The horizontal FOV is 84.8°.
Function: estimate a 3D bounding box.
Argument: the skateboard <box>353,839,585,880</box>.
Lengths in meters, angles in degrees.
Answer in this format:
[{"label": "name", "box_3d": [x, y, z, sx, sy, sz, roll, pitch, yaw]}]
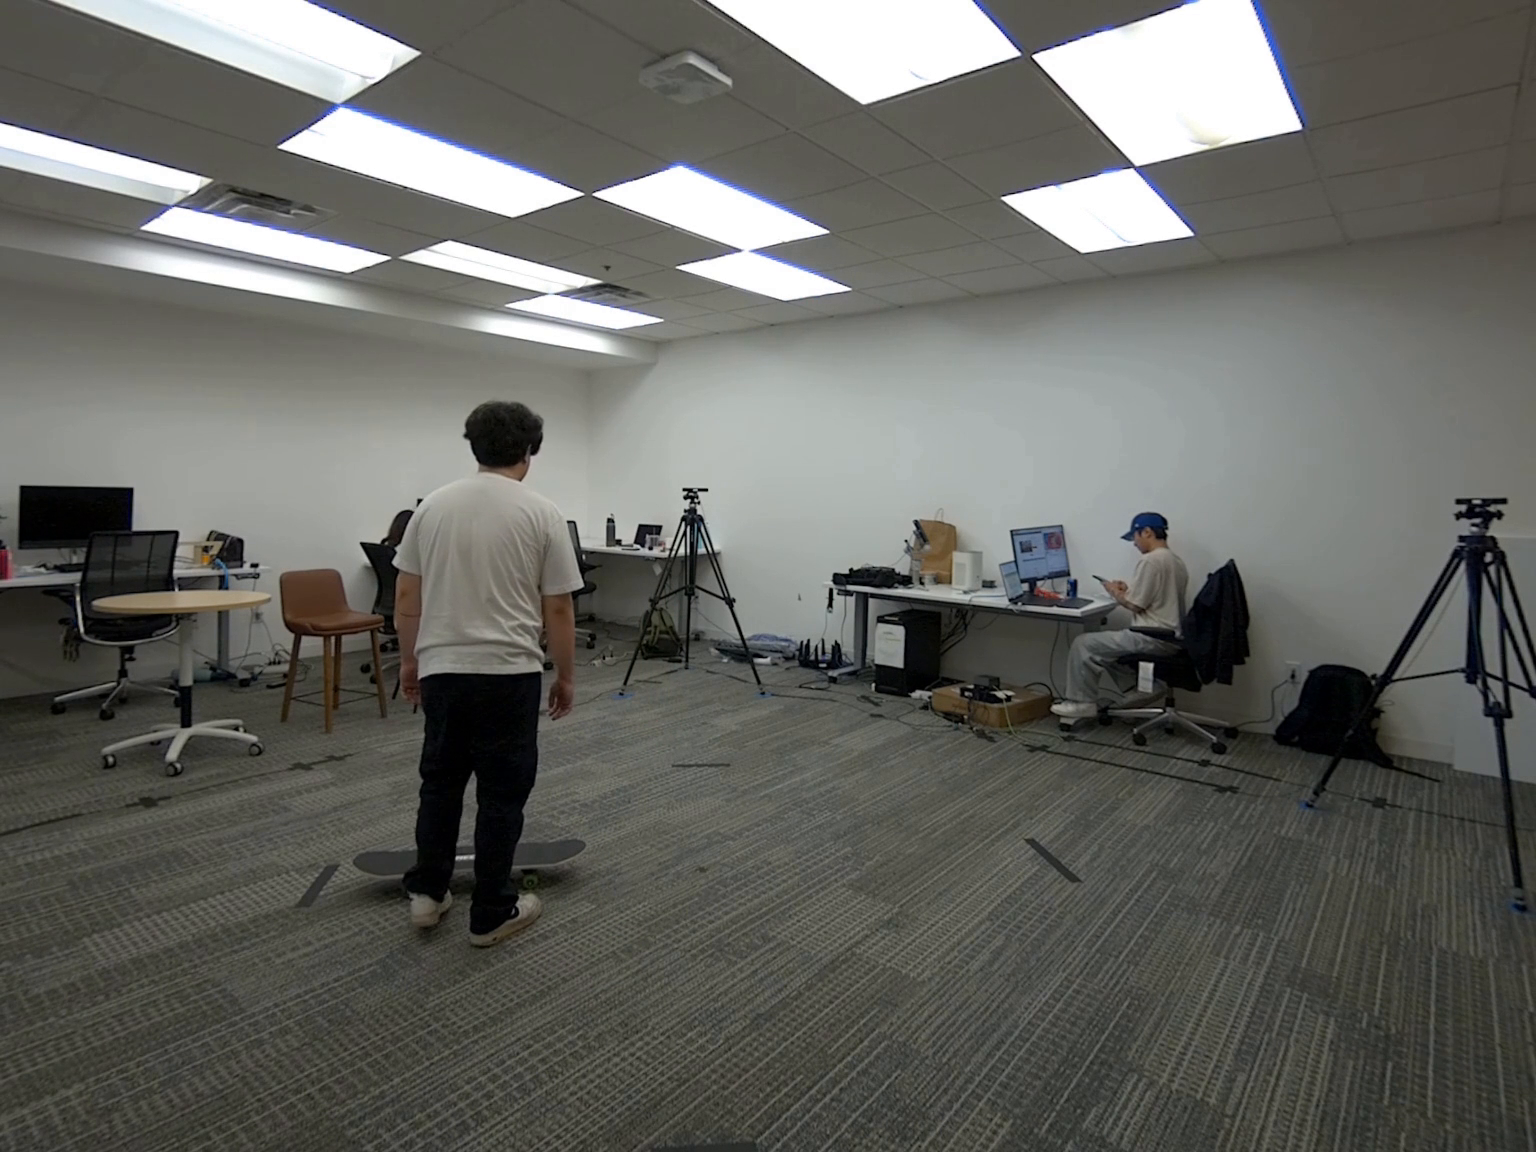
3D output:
[{"label": "skateboard", "box_3d": [-1.044, 1.014, 2.969, 0.776, 0.110, 0.196, 0, 5, -11]}]
